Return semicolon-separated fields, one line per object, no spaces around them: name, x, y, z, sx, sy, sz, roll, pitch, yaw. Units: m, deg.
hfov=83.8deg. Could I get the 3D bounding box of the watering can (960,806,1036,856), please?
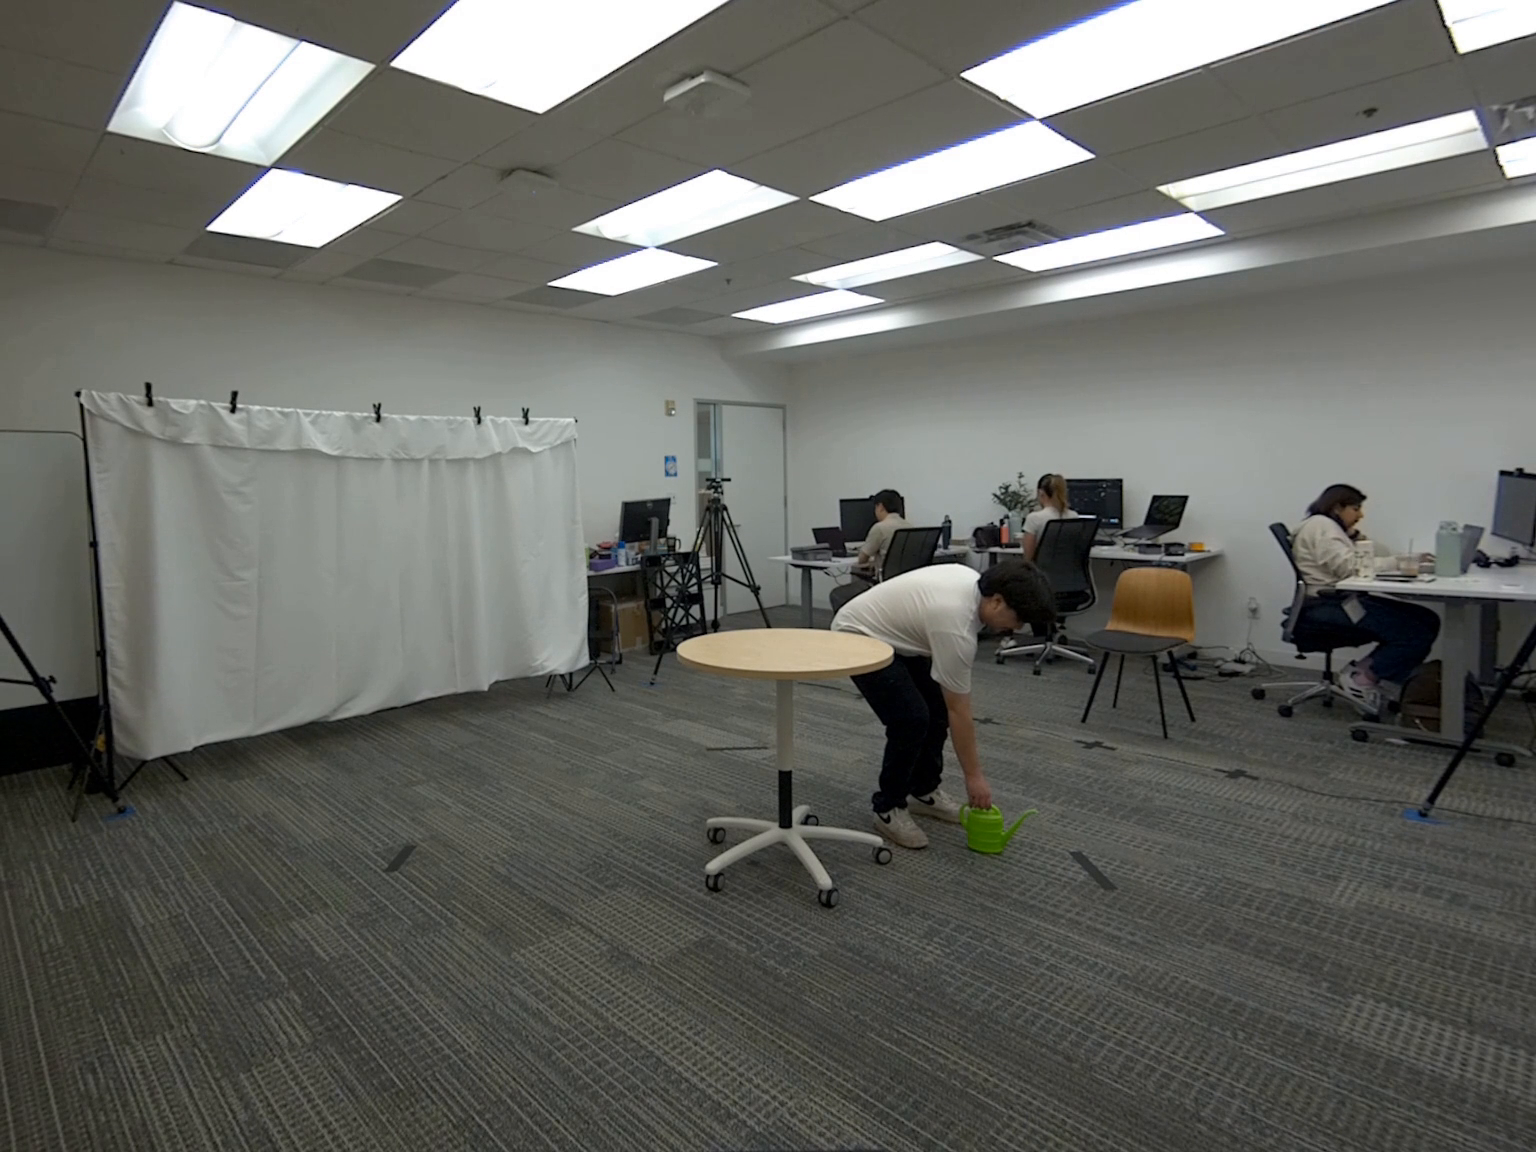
watering can;0.855;0.933;3.163;0.286;0.176;0.095;1;5;40
